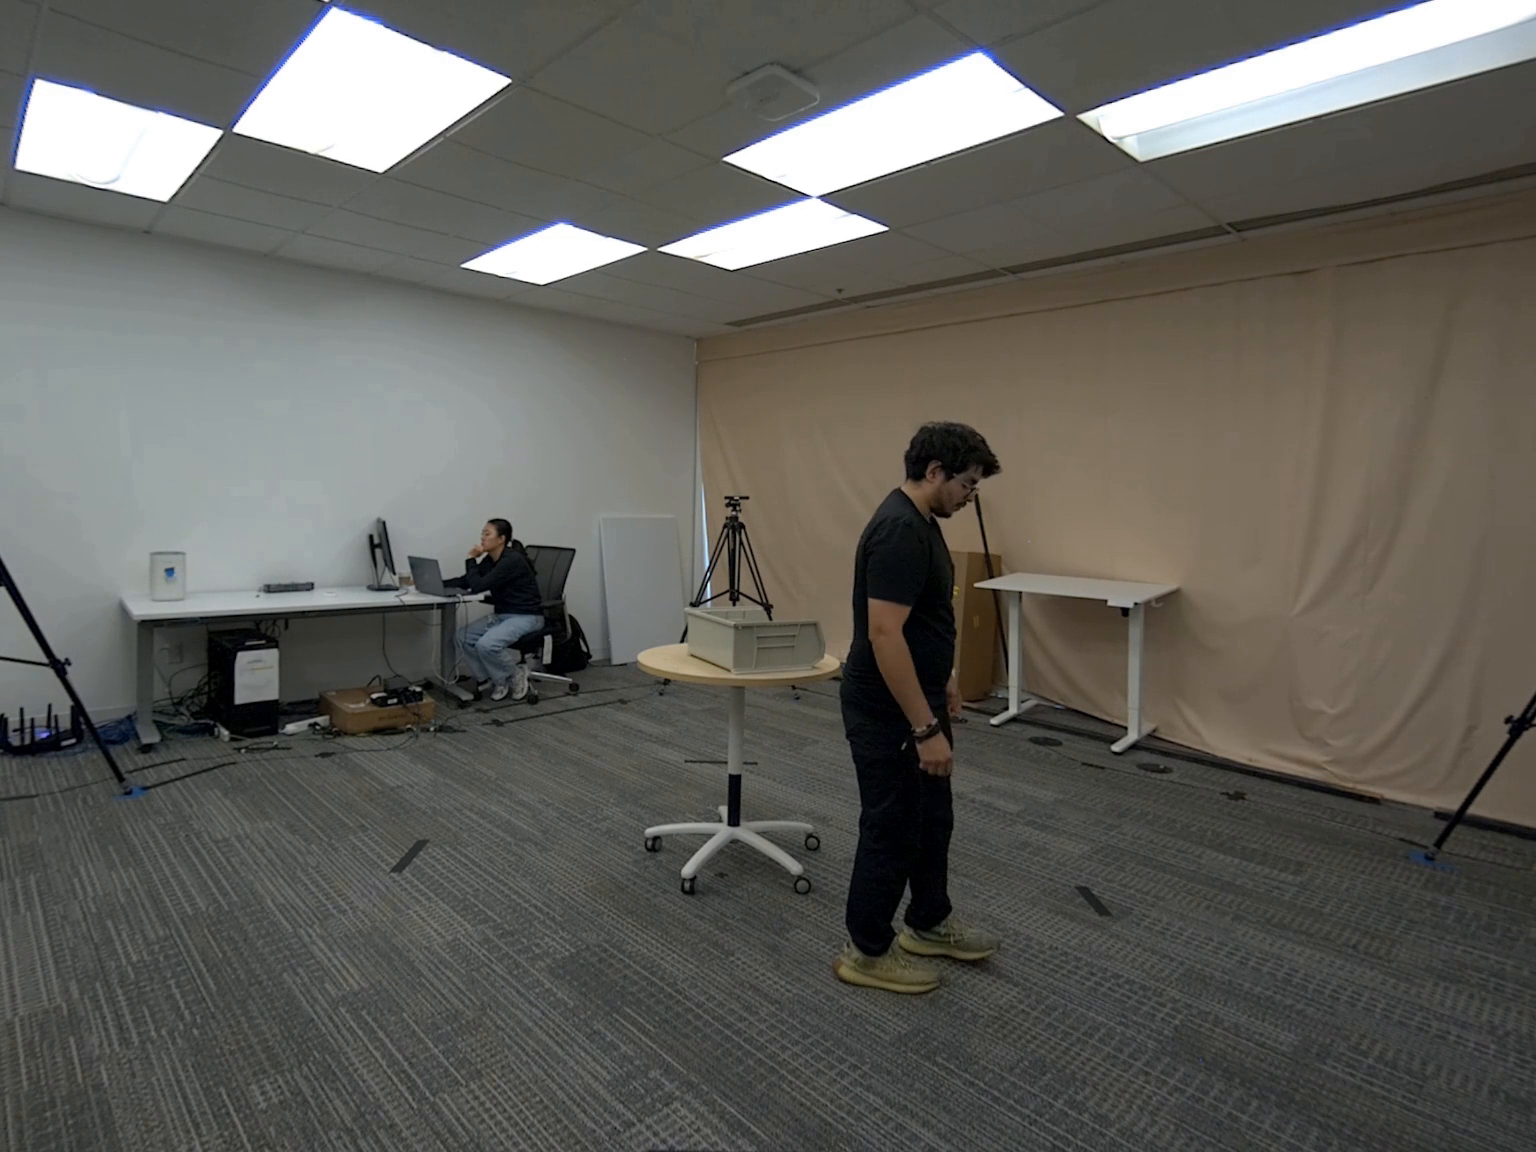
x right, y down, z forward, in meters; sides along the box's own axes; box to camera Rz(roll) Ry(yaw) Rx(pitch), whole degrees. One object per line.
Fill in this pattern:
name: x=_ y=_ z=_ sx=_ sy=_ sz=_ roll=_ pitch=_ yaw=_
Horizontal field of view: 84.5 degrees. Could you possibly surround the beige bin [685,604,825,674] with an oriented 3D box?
beige bin: x=-0.062 y=0.230 z=3.128 sx=0.370 sy=0.188 sz=0.432 roll=-2 pitch=6 yaw=-28
